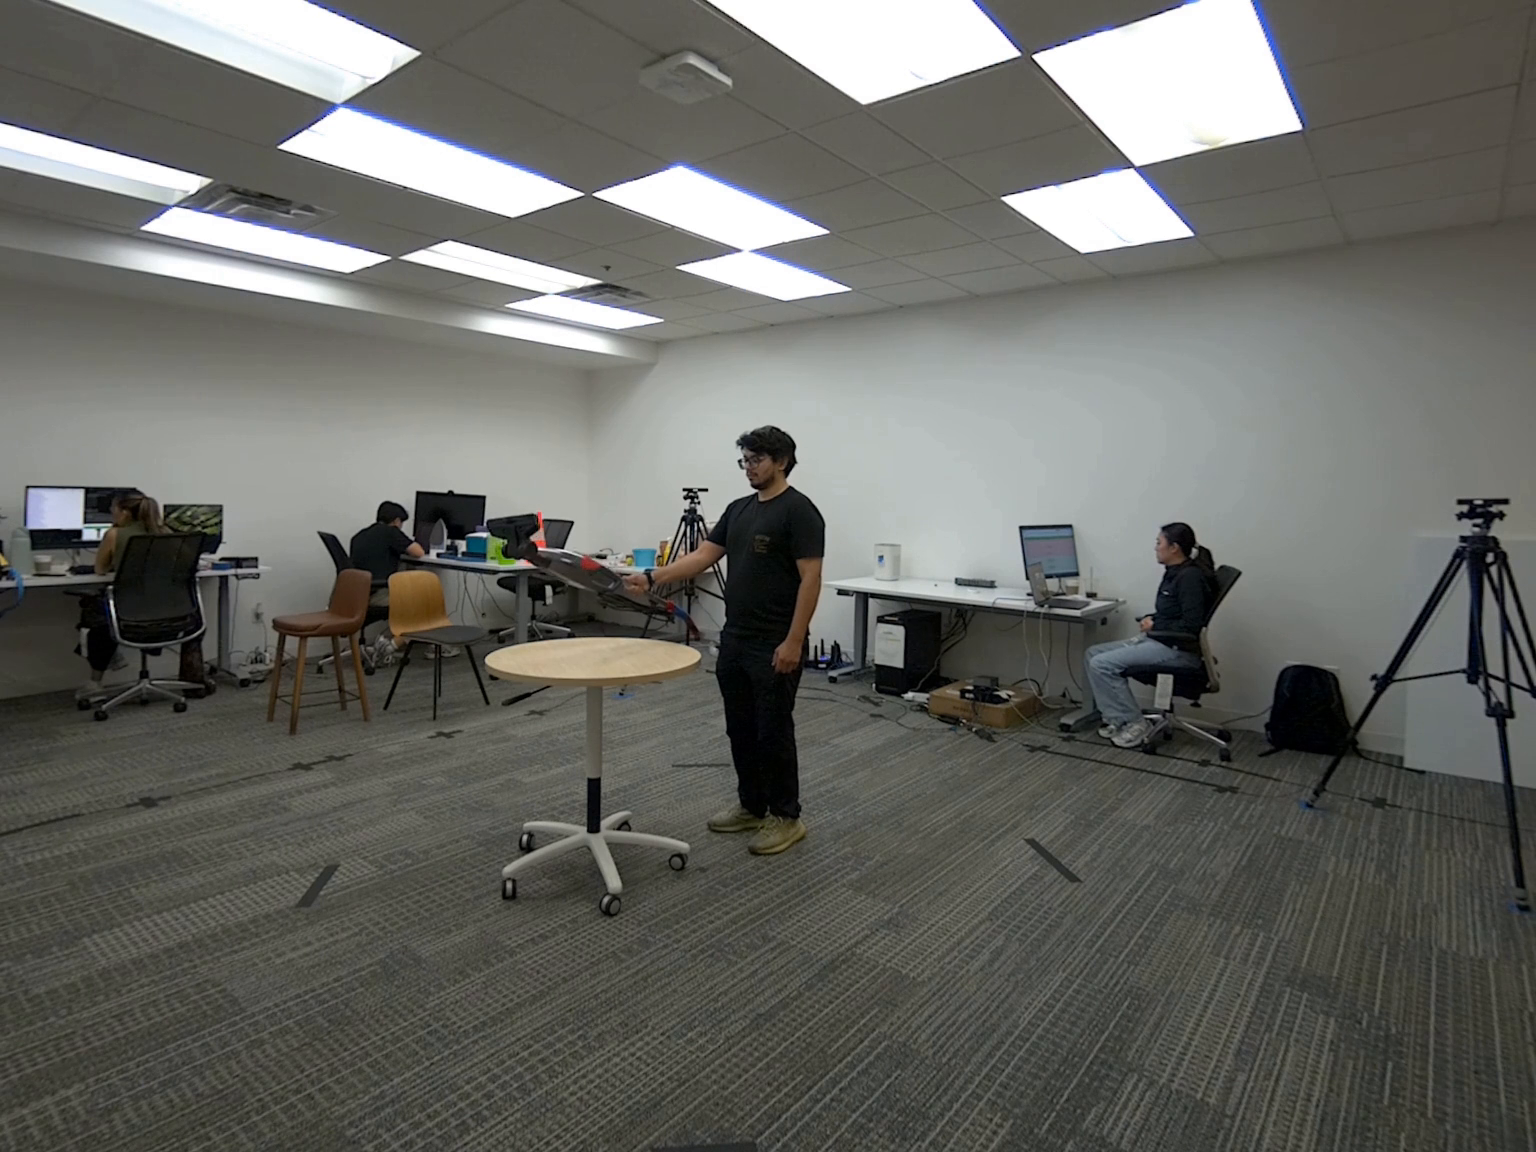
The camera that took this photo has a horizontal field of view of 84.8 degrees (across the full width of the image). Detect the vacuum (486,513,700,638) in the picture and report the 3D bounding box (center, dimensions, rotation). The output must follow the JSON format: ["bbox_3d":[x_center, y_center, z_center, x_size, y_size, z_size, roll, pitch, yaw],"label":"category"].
[{"bbox_3d":[-0.615,0.055,3.242,0.260,0.146,1.005,-4,-25,35],"label":"vacuum"}]
